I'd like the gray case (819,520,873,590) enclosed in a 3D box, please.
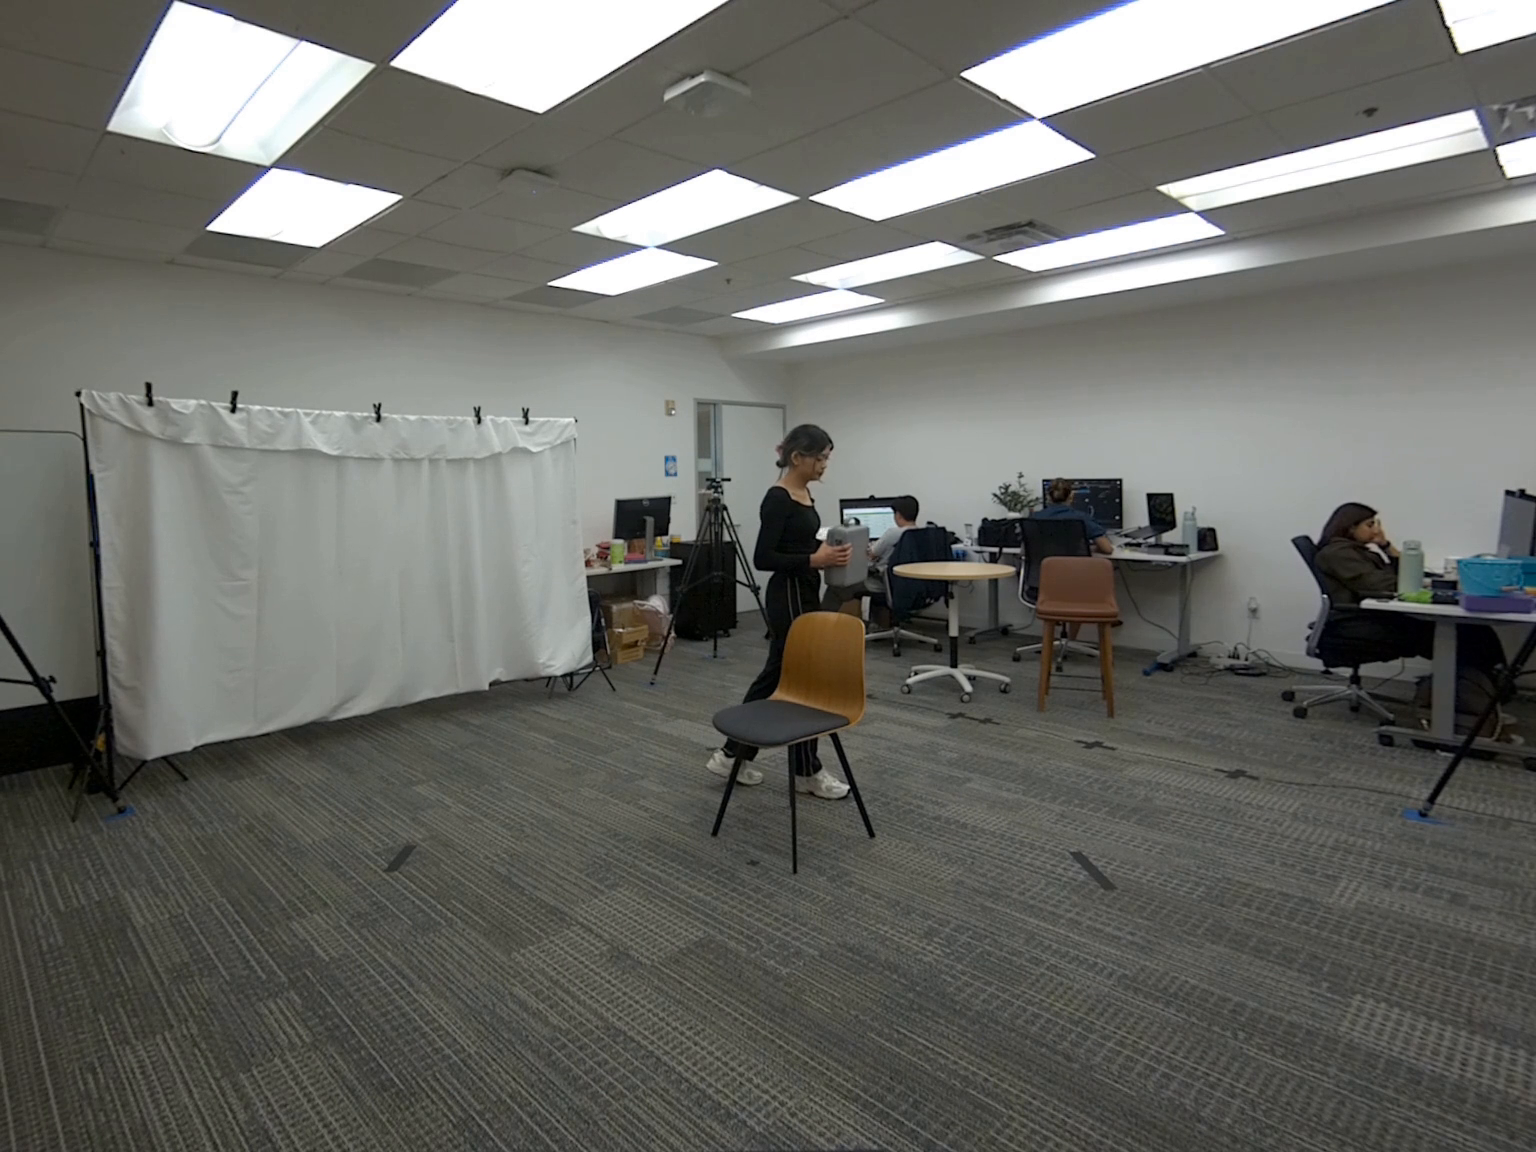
[{"bbox_3d":[0.328,-0.095,3.649,0.107,0.259,0.251,8,10,34],"label":"gray case"}]
